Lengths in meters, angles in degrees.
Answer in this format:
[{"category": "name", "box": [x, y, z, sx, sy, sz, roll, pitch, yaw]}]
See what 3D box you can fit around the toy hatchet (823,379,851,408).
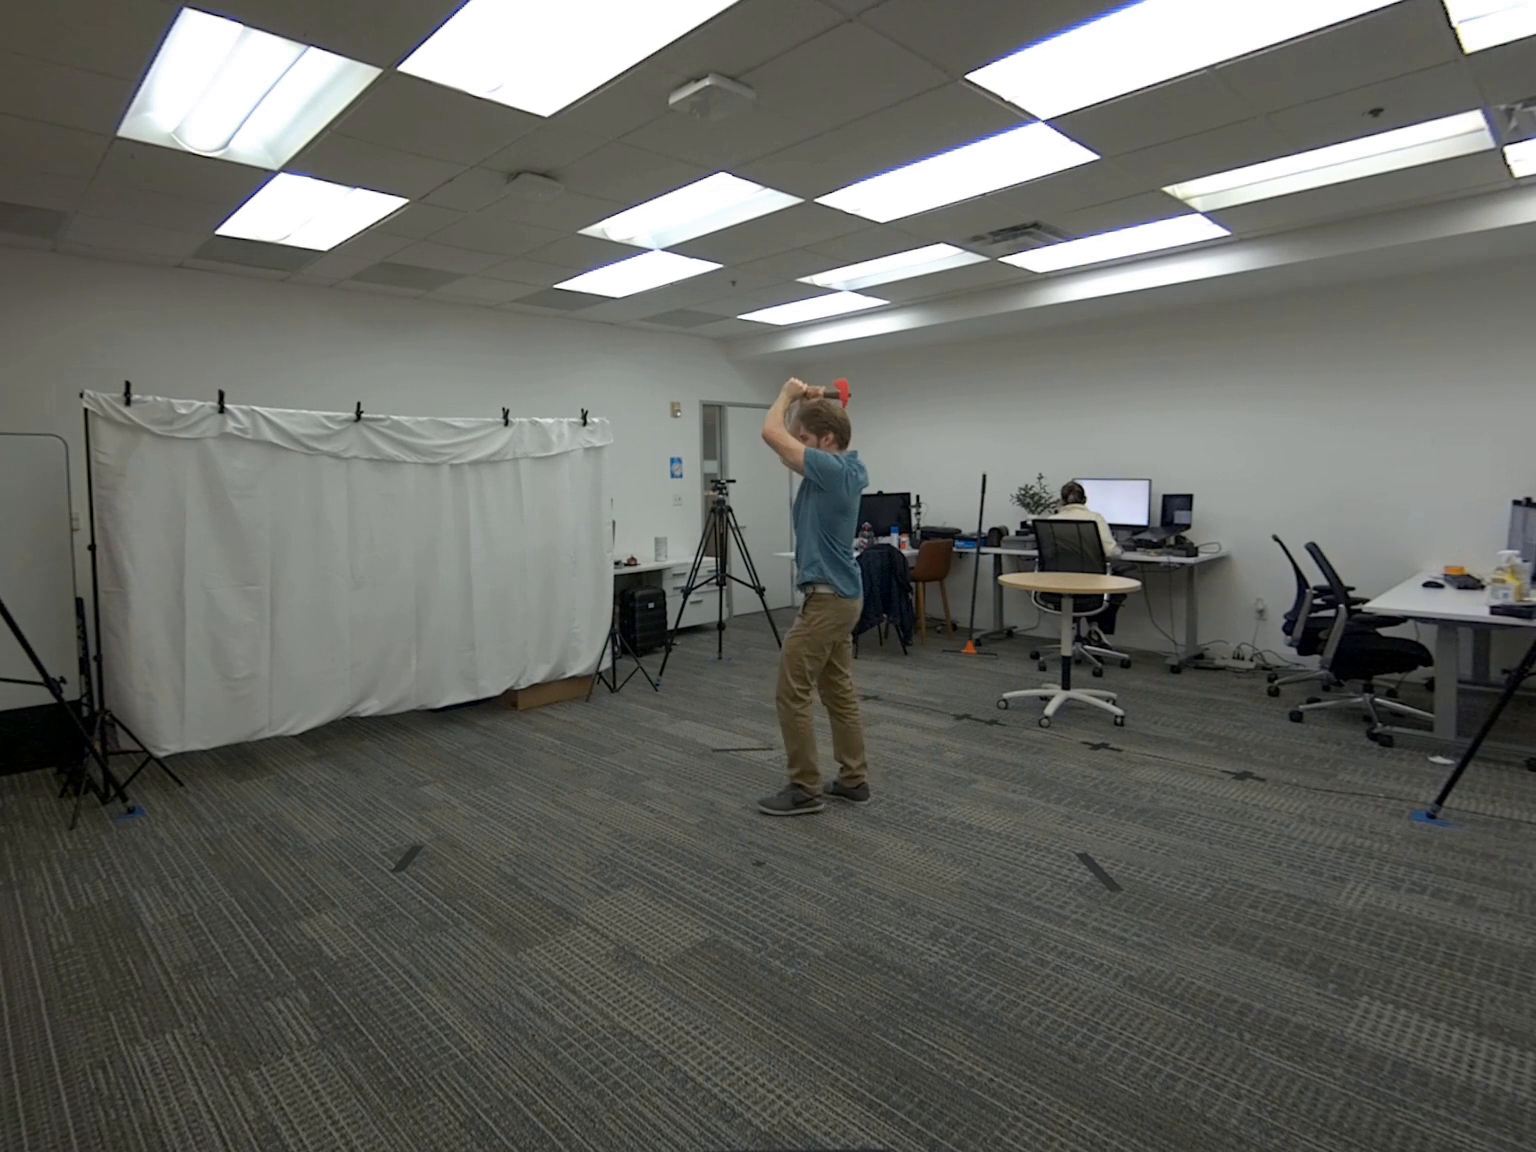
[{"category": "toy hatchet", "box": [0.225, -0.807, 3.656, 0.269, 0.130, 0.030, 20, 7, -4]}]
